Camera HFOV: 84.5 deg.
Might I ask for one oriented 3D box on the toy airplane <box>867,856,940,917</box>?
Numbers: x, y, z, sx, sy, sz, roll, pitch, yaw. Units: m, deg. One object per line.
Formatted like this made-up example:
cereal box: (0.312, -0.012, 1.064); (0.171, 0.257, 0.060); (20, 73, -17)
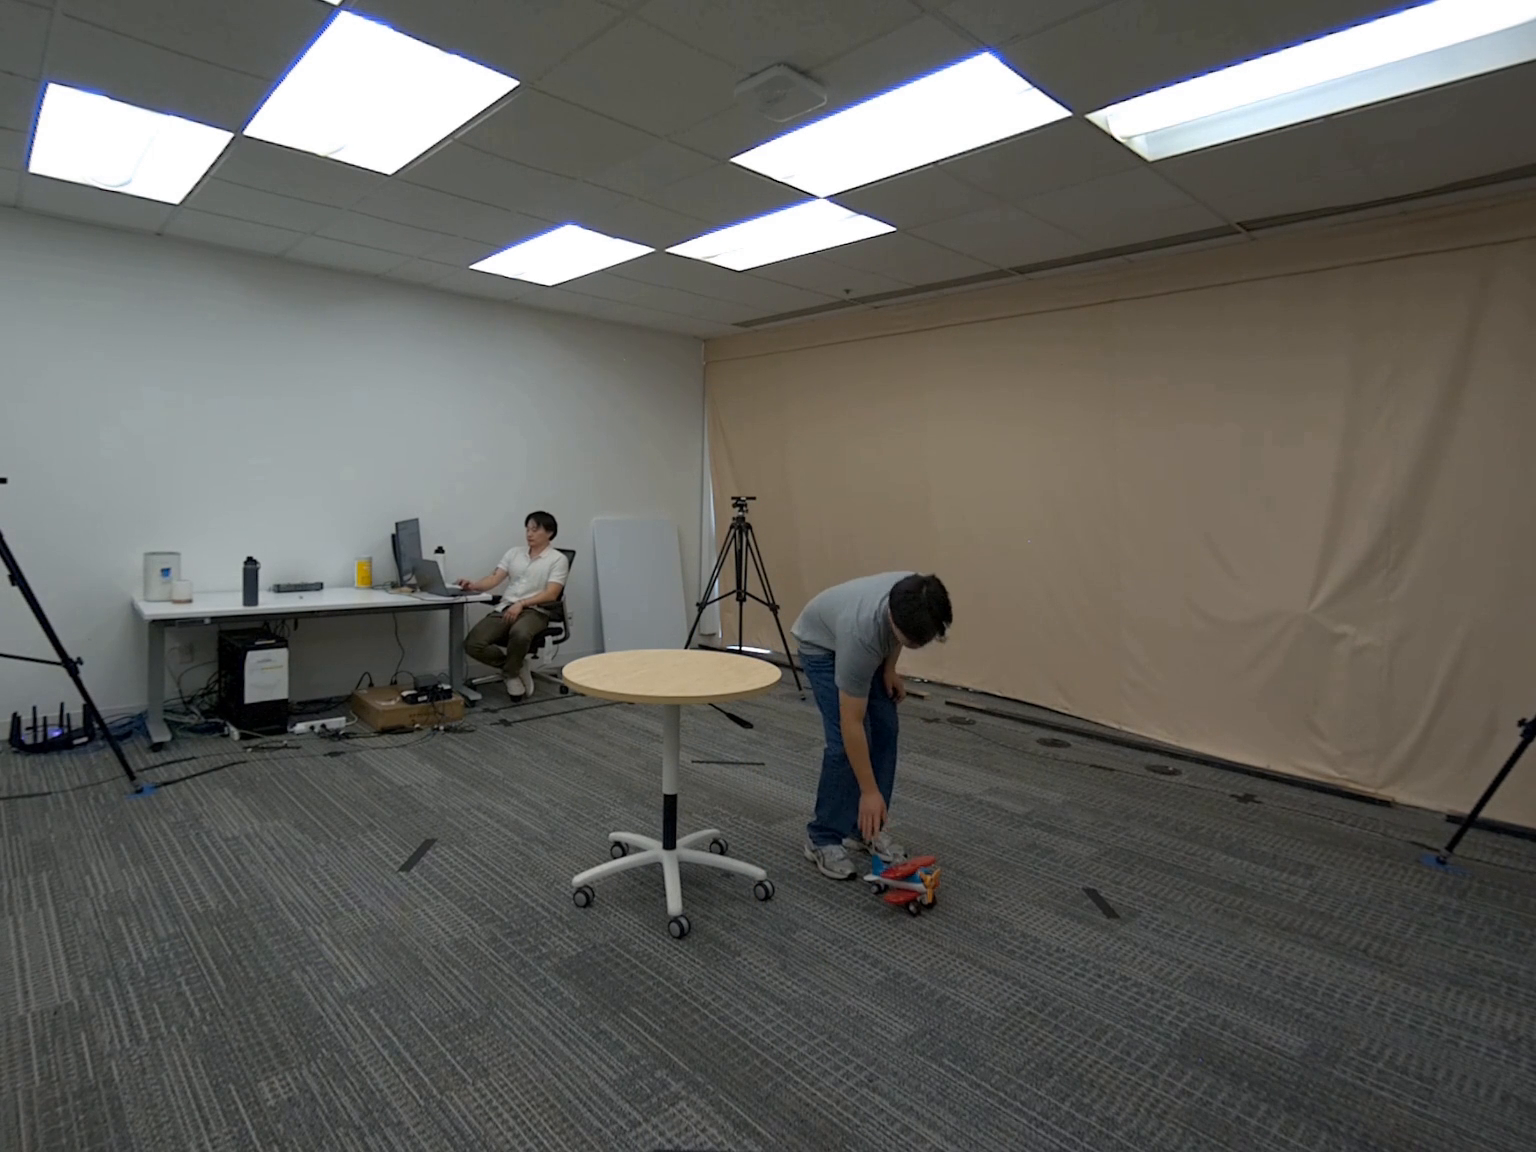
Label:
toy airplane: (0.444, 1.063, 2.913); (0.263, 0.156, 0.248); (4, 5, 20)
